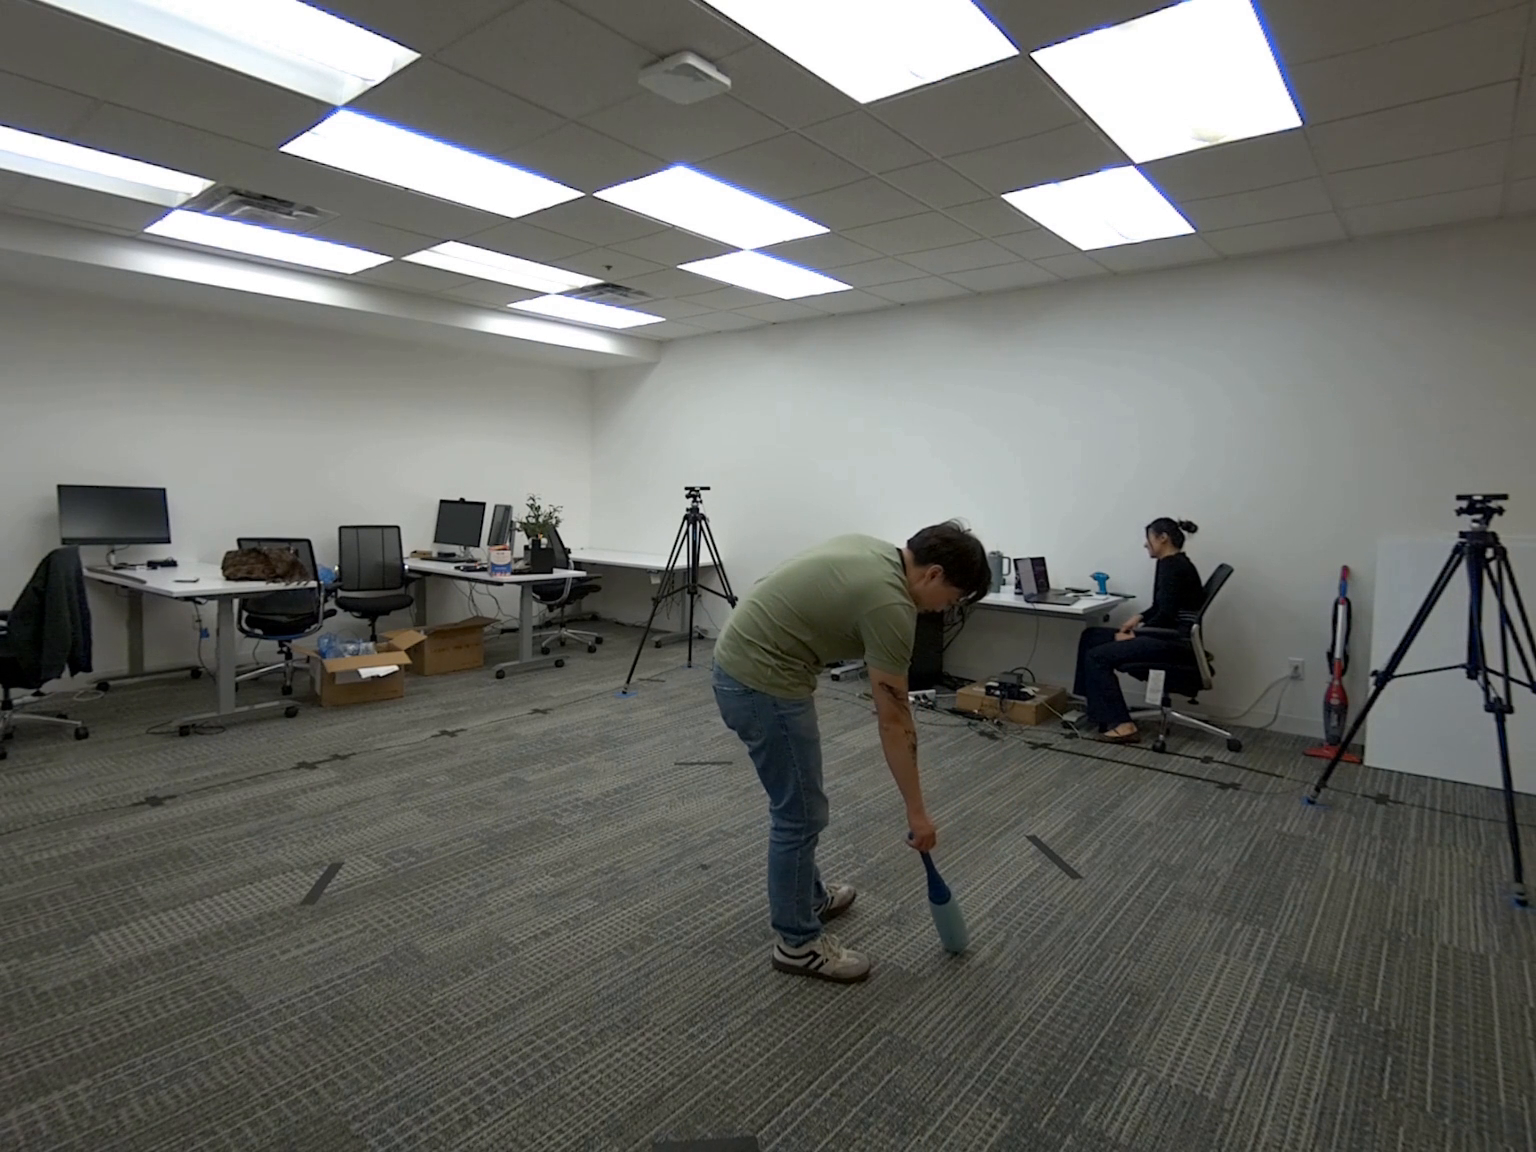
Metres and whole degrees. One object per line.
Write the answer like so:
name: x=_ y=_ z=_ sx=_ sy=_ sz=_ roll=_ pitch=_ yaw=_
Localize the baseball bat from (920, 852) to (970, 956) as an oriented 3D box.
baseball bat: x=0.483 y=0.908 z=2.463 sx=0.090 sy=0.524 sz=0.091 roll=-16 pitch=33 yaw=9
